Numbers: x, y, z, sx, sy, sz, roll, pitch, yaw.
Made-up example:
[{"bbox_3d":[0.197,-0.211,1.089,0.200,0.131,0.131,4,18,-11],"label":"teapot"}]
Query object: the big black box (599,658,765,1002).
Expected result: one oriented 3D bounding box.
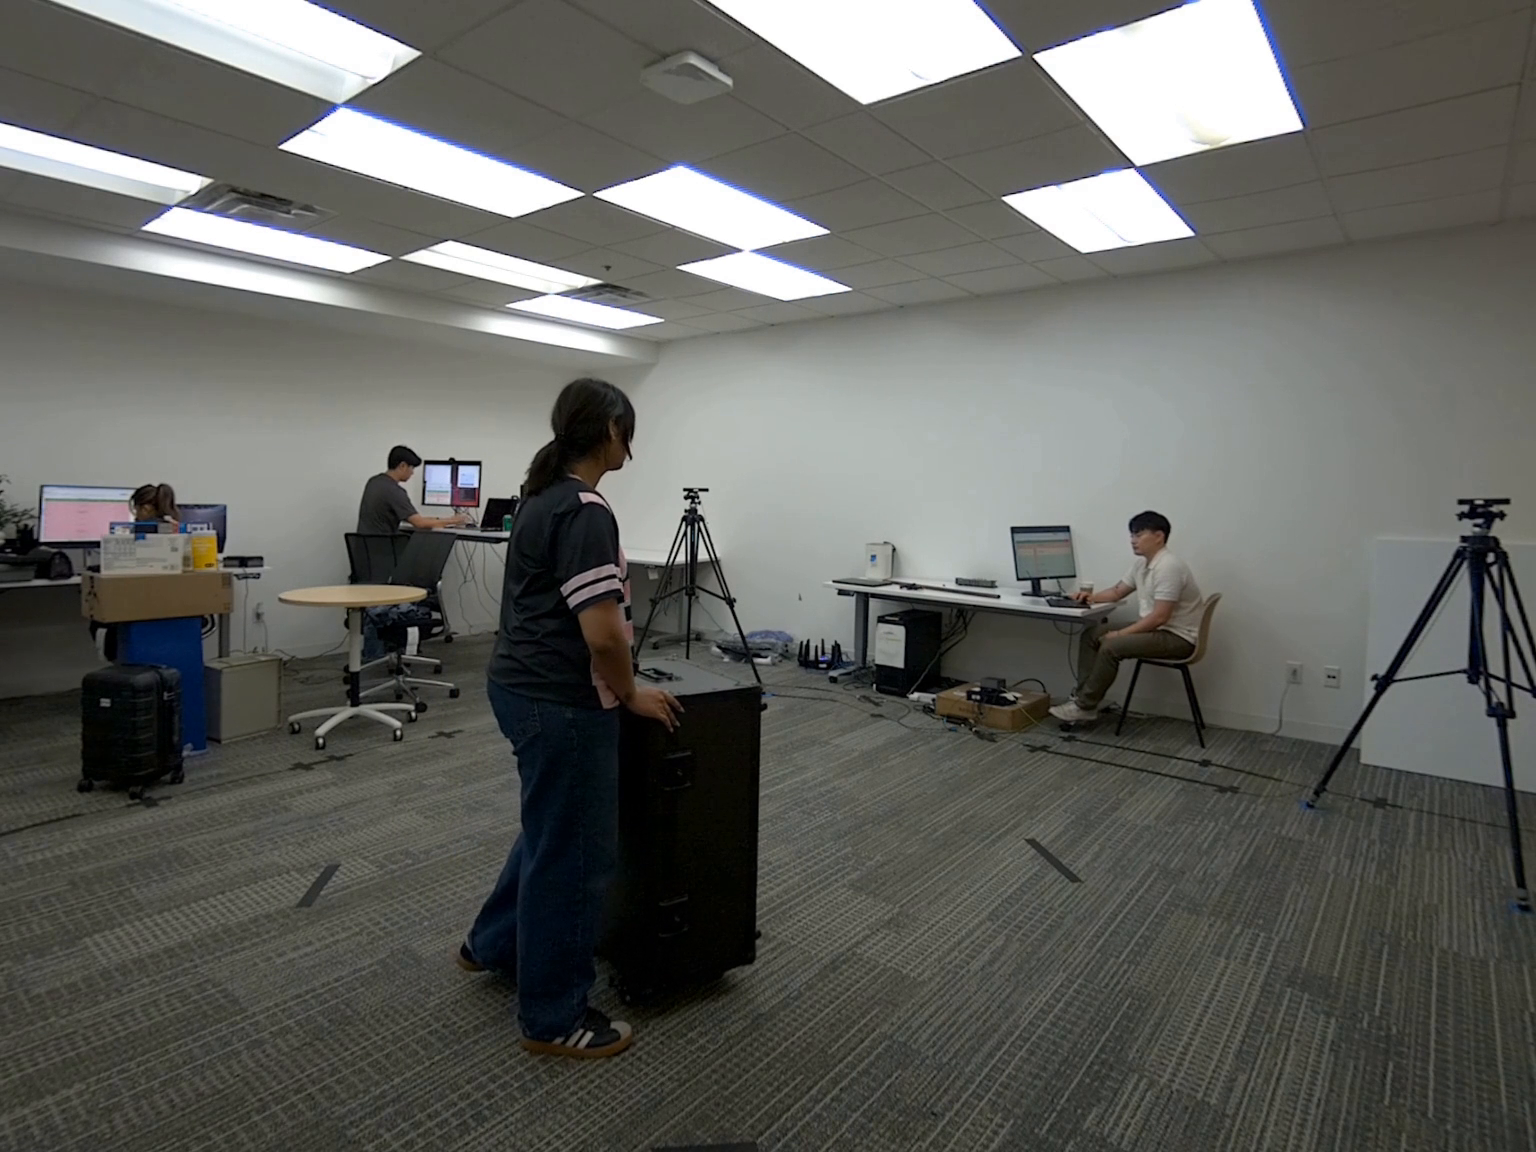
[{"bbox_3d":[-0.315,0.708,2.470,0.374,0.866,0.540,-1,4,-34],"label":"big black box"}]
